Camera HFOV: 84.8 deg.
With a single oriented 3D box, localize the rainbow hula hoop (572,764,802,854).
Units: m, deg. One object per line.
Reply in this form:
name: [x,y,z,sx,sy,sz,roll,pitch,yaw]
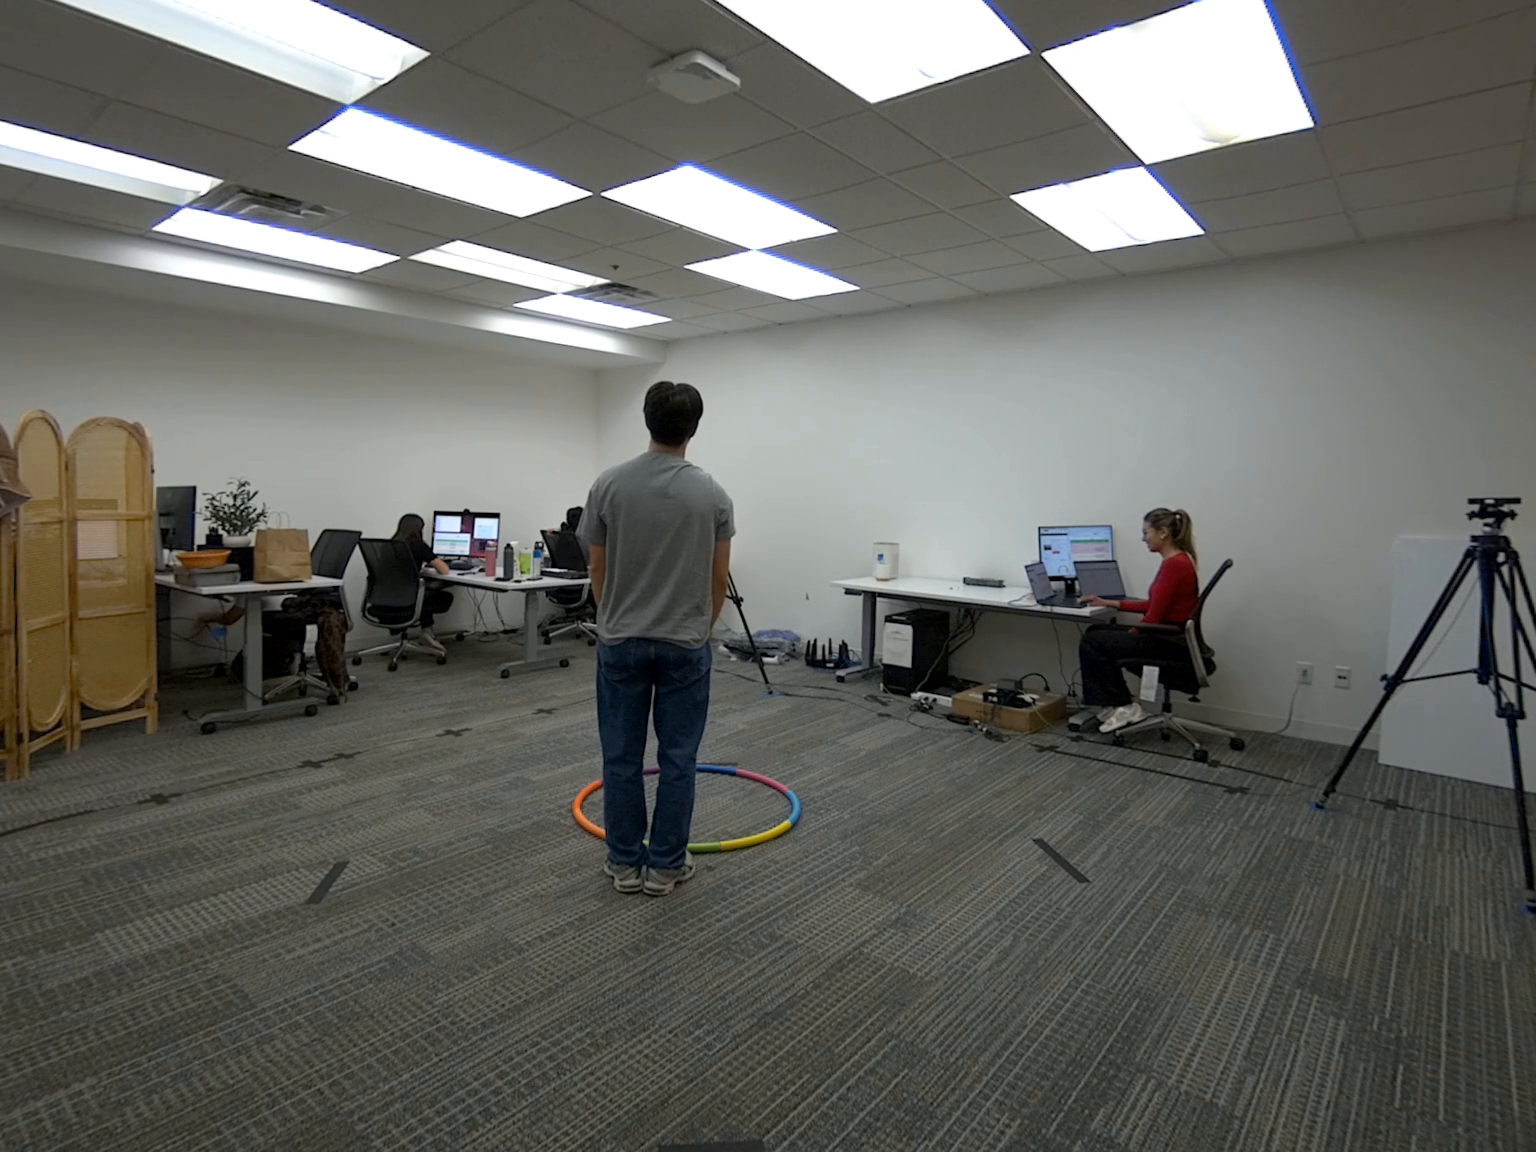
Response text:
rainbow hula hoop: [-0.360,0.975,3.700,0.978,0.035,0.984,1,6,-2]
